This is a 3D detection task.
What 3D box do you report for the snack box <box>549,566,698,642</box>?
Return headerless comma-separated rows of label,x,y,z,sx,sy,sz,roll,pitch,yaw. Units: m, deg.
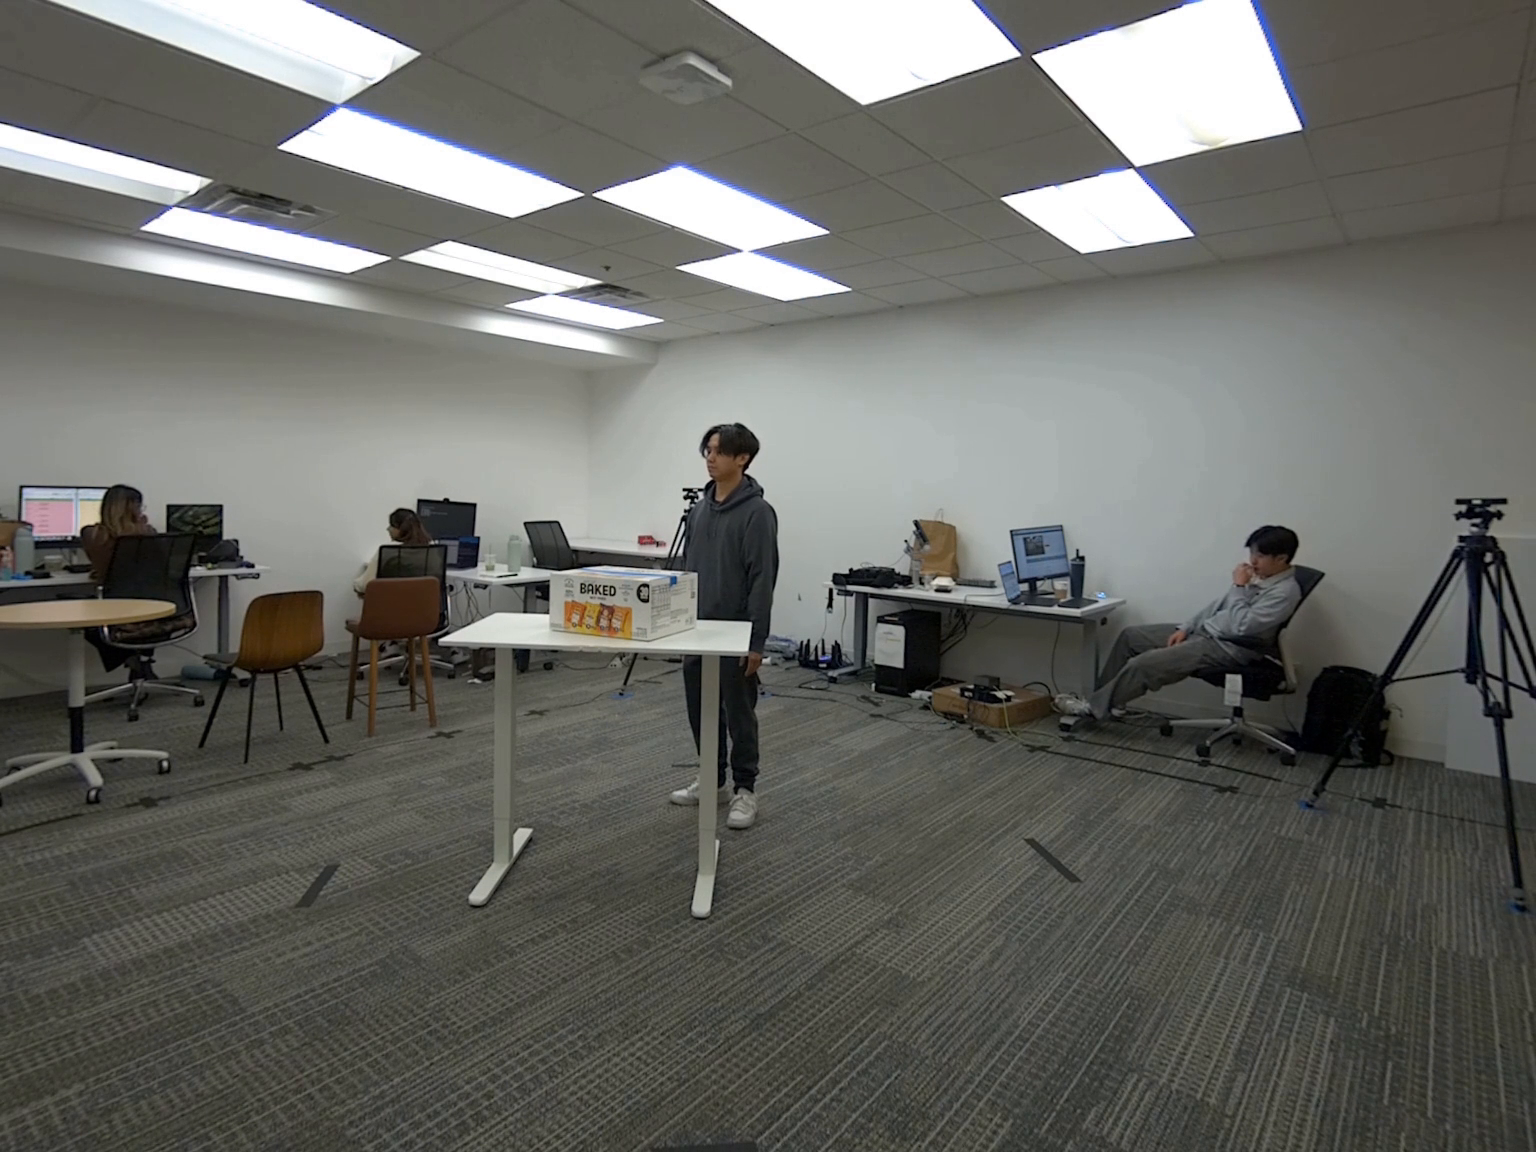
snack box,-0.521,0.088,3.035,0.416,0.205,0.333,4,6,25
